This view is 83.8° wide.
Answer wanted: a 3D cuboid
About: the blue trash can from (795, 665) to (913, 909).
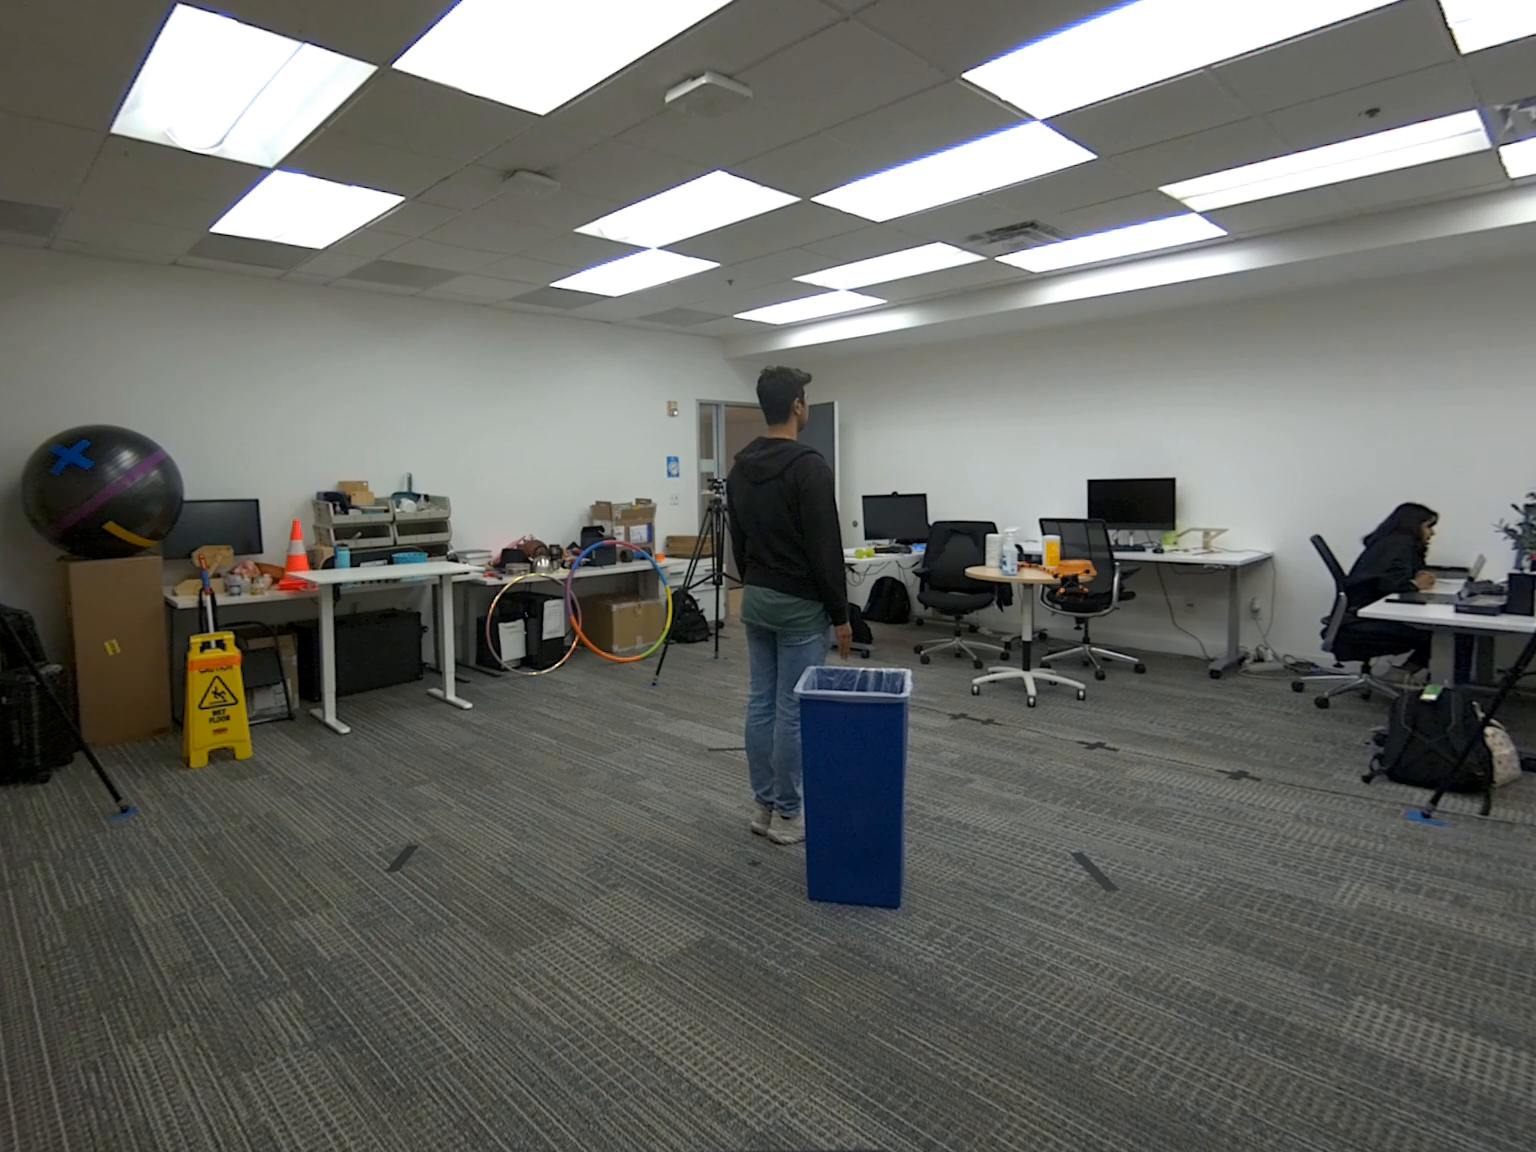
[{"bbox_3d":[0.299,0.701,2.908,0.379,0.710,0.375,1,5,13],"label":"blue trash can"}]
